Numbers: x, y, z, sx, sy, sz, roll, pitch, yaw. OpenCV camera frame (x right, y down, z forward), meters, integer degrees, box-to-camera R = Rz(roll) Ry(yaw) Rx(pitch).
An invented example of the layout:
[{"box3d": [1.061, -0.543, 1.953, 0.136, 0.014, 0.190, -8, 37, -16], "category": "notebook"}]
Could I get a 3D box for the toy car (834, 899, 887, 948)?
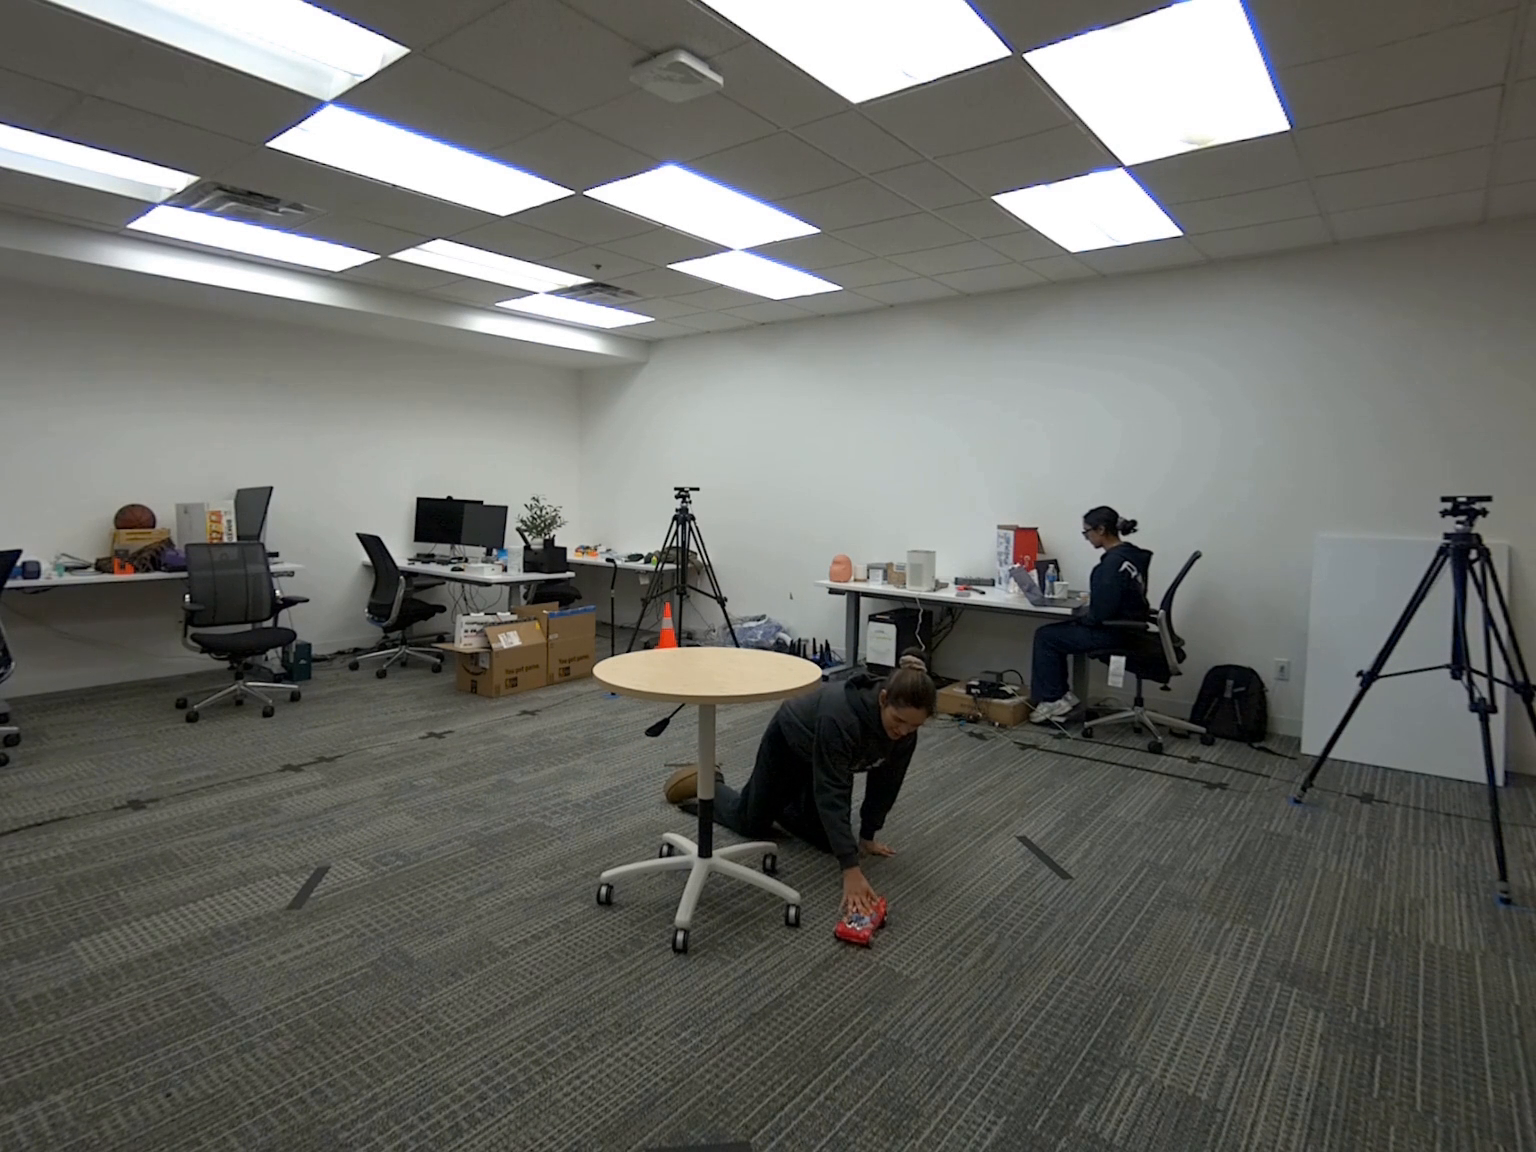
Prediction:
[{"box3d": [0.301, 1.083, 2.706, 0.134, 0.082, 0.251, 3, 16, 24], "category": "toy car"}]
